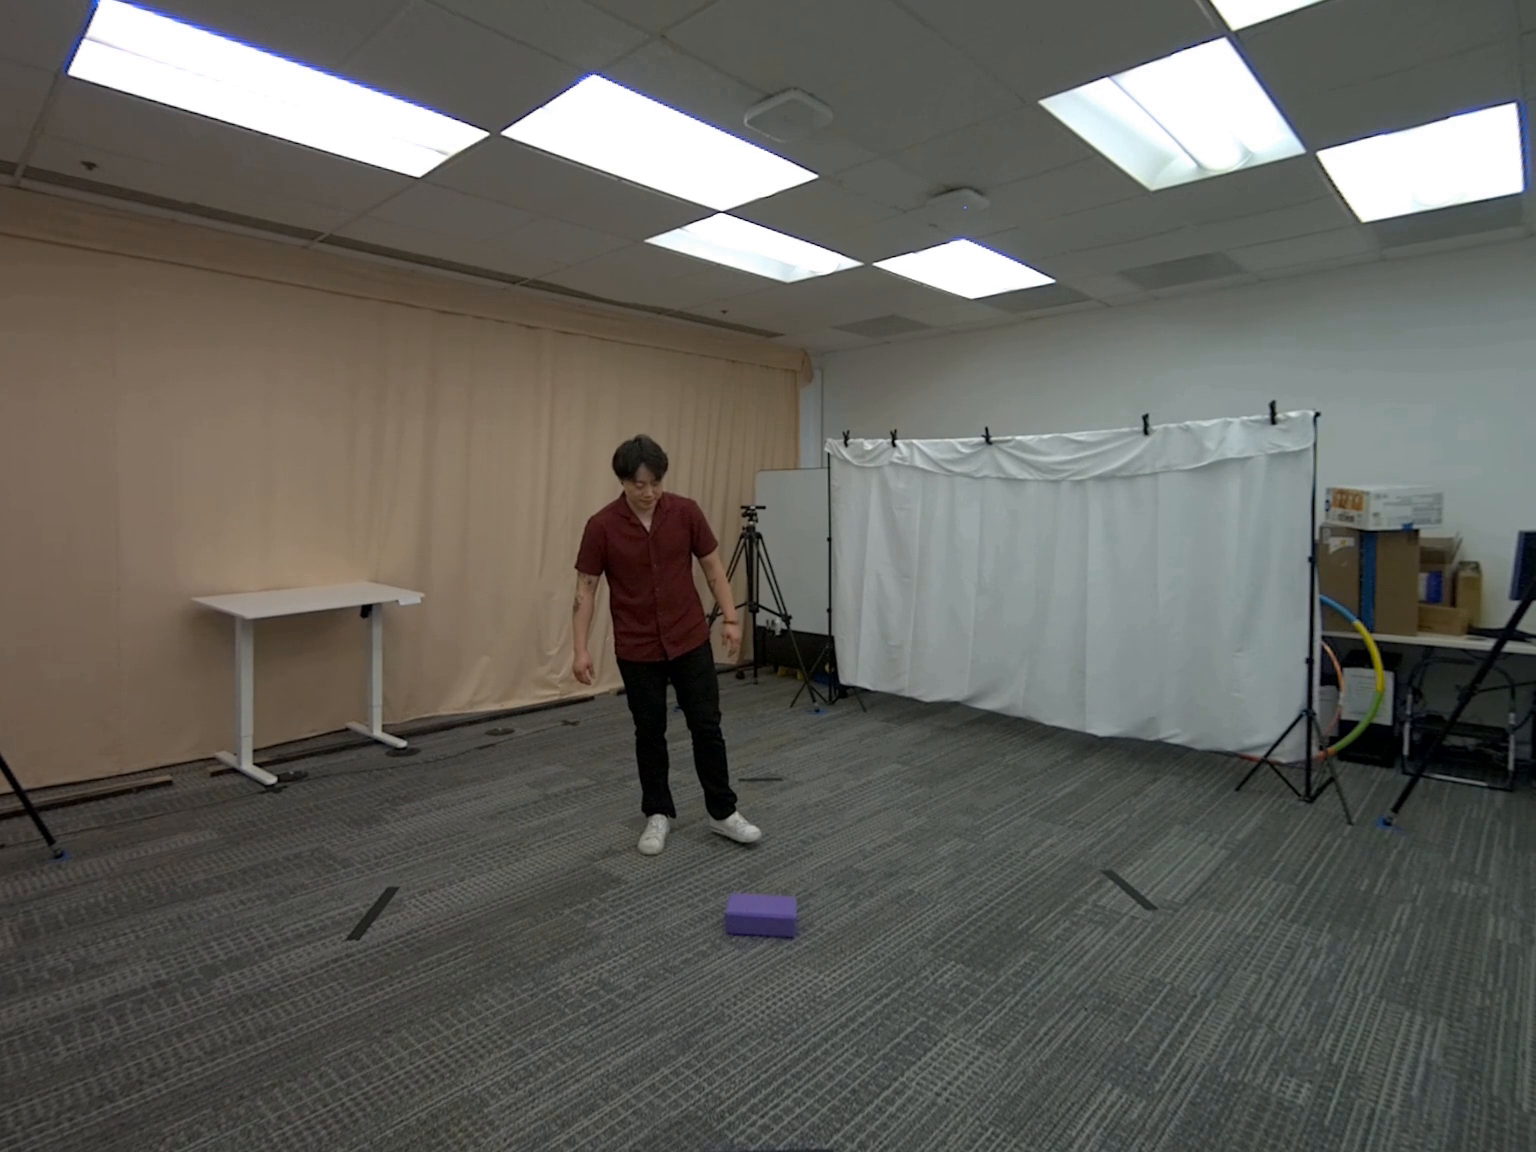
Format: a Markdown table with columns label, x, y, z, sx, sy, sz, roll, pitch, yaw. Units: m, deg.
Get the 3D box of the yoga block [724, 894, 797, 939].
| label | x | y | z | sx | sy | sz | roll | pitch | yaw |
| --- | --- | --- | --- | --- | --- | --- | --- | --- | --- |
| yoga block | -0.014 | 1.117 | 2.784 | 0.231 | 0.076 | 0.148 | 1 | 3 | 7 |
